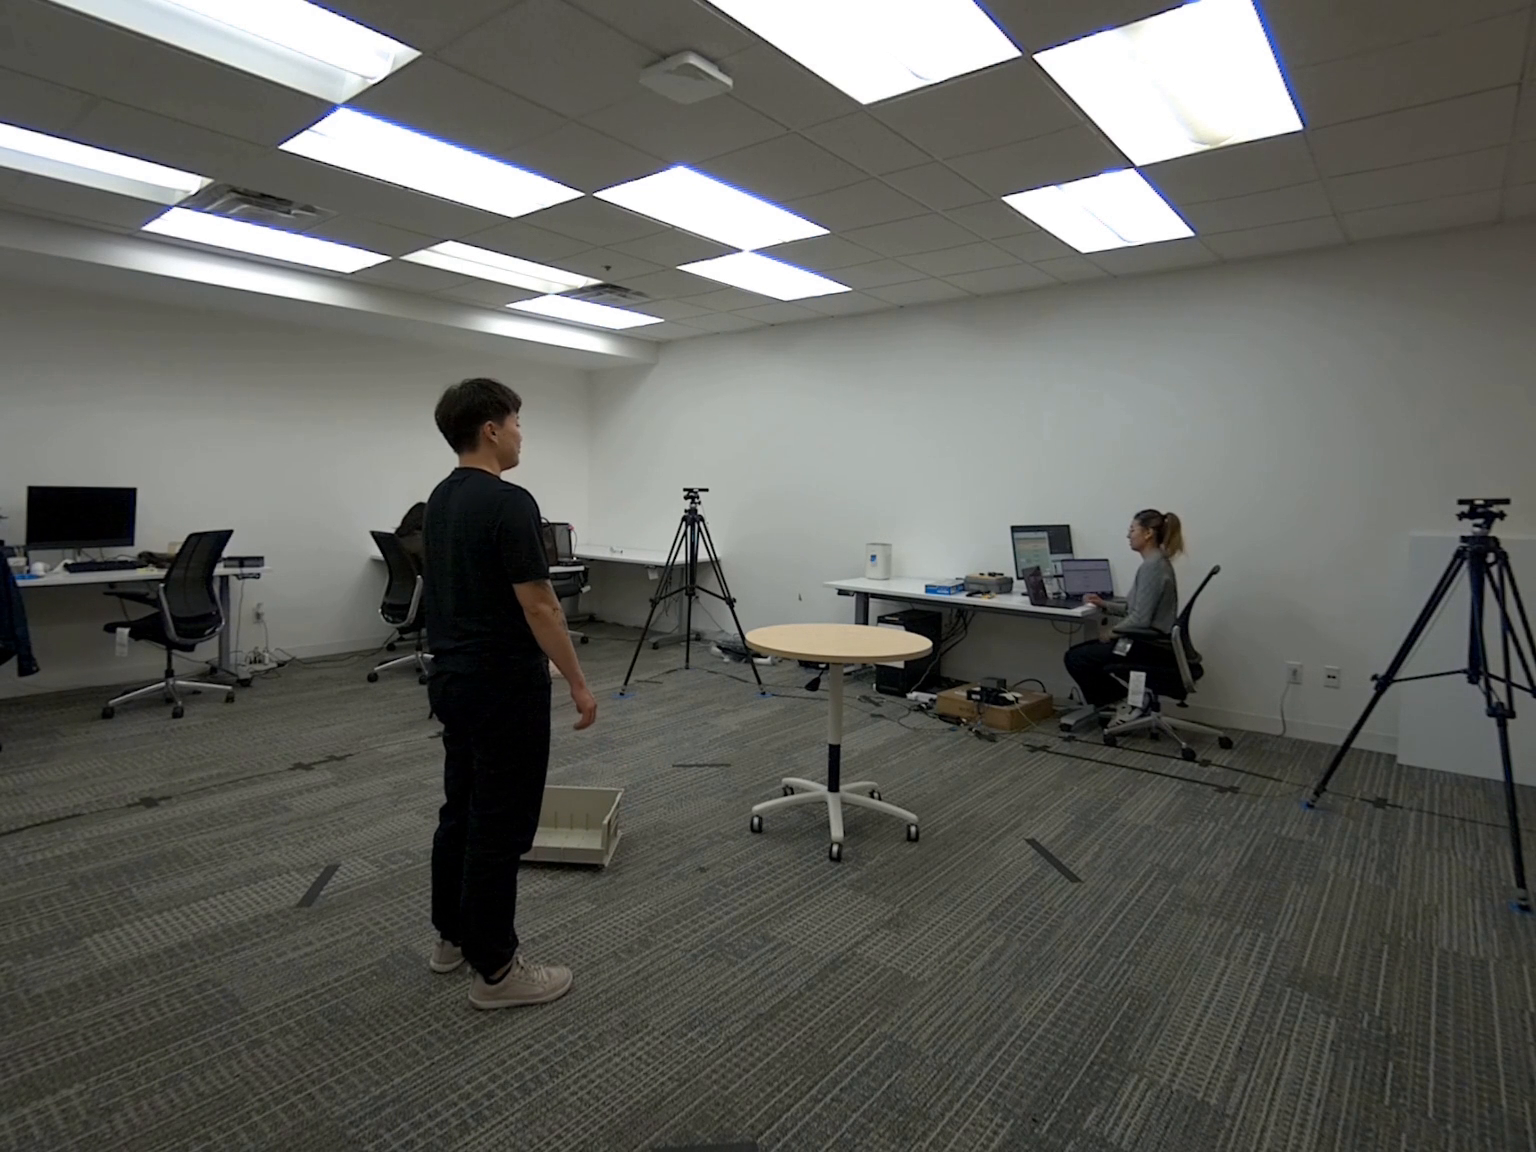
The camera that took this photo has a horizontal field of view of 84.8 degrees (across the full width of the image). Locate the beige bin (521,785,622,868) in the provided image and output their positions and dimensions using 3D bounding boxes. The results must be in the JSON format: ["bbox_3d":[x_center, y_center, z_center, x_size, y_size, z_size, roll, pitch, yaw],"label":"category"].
[{"bbox_3d":[-0.803,0.961,3.256,0.424,0.188,0.377,1,4,2],"label":"beige bin"}]
